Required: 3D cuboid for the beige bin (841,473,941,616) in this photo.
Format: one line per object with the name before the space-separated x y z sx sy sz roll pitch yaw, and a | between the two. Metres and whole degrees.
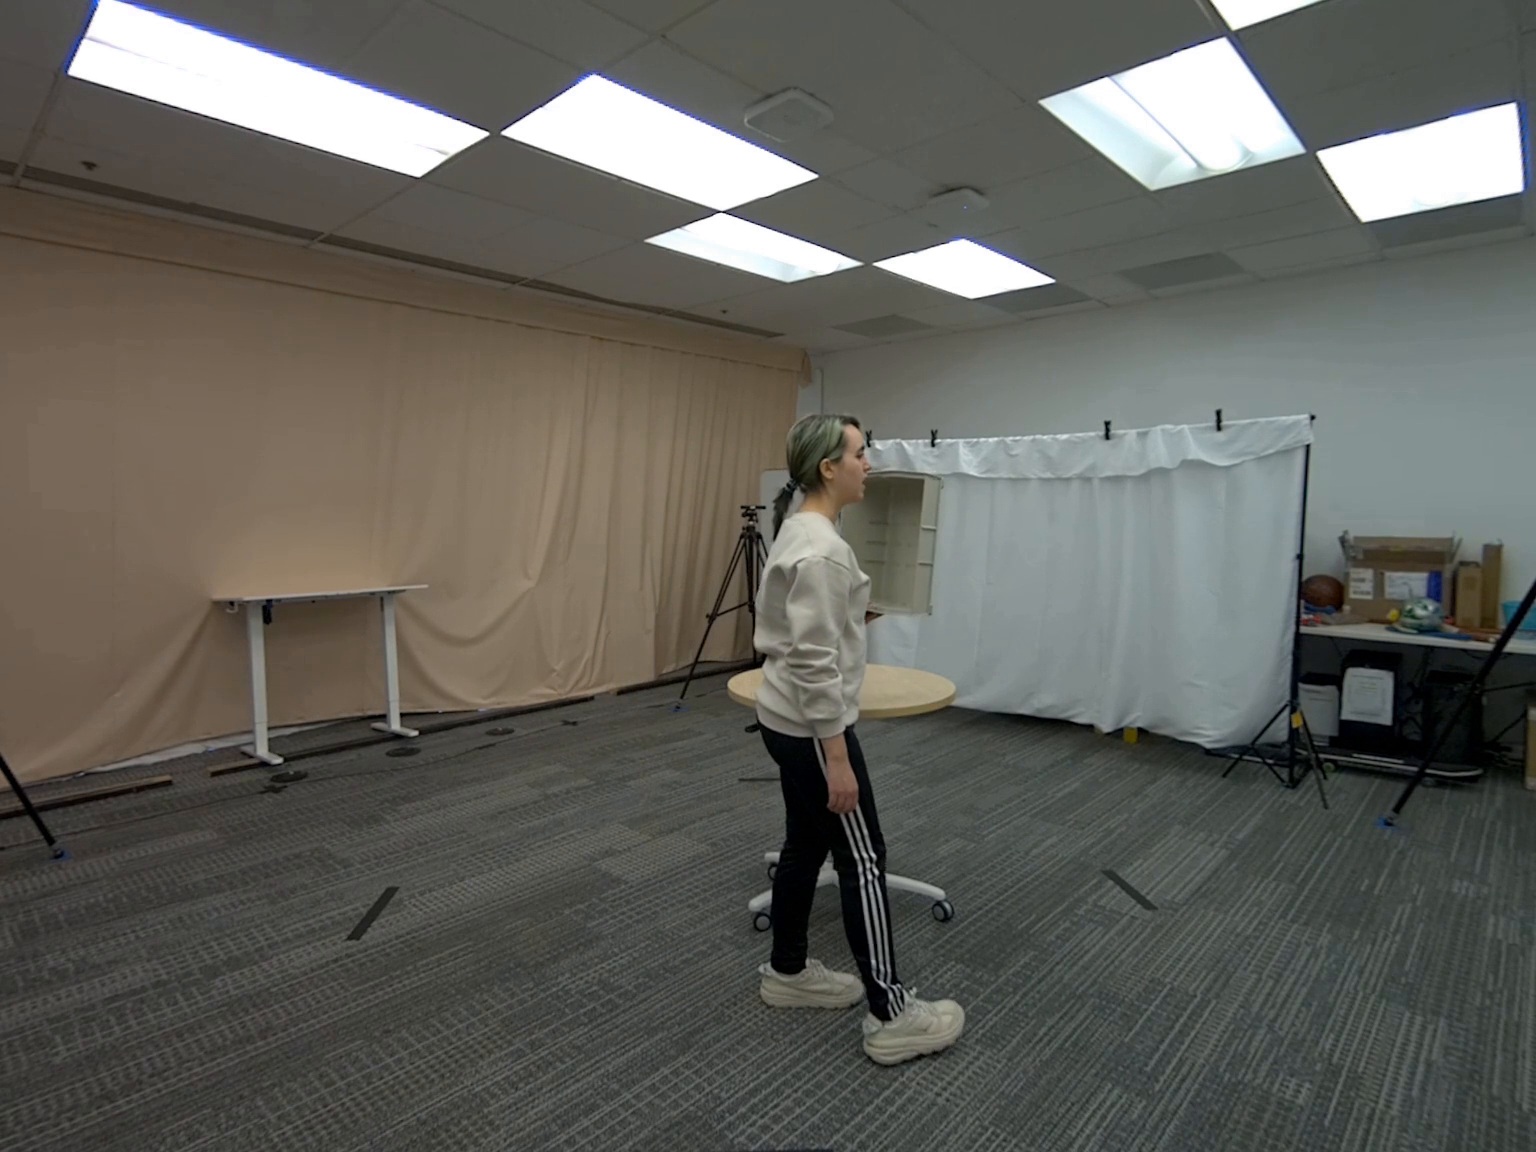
beige bin | 0.376 -0.107 2.609 0.185 0.422 0.384 3 1 -18
